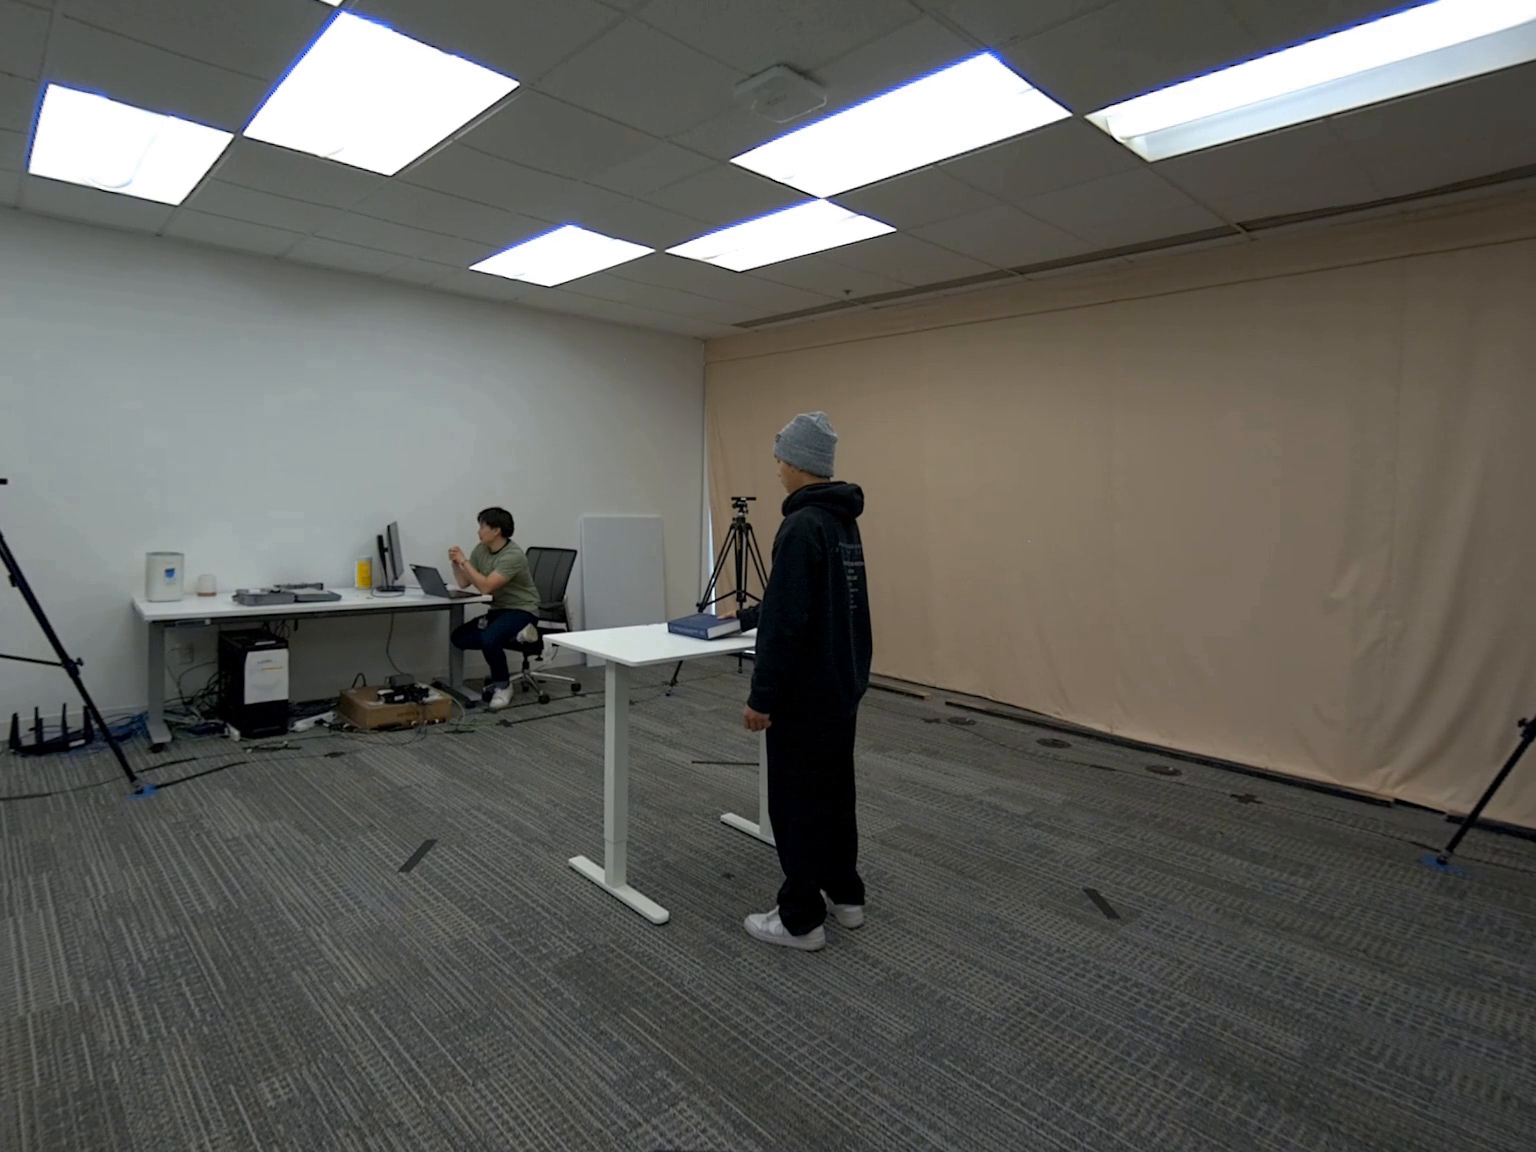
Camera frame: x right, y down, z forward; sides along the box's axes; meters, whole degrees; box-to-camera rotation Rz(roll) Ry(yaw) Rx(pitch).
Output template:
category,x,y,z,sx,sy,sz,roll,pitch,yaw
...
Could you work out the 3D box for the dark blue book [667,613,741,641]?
category,x,y,z,sx,sy,sz,roll,pitch,yaw
dark blue book,-0.245,0.189,3.127,0.160,0.045,0.251,-13,12,-39
